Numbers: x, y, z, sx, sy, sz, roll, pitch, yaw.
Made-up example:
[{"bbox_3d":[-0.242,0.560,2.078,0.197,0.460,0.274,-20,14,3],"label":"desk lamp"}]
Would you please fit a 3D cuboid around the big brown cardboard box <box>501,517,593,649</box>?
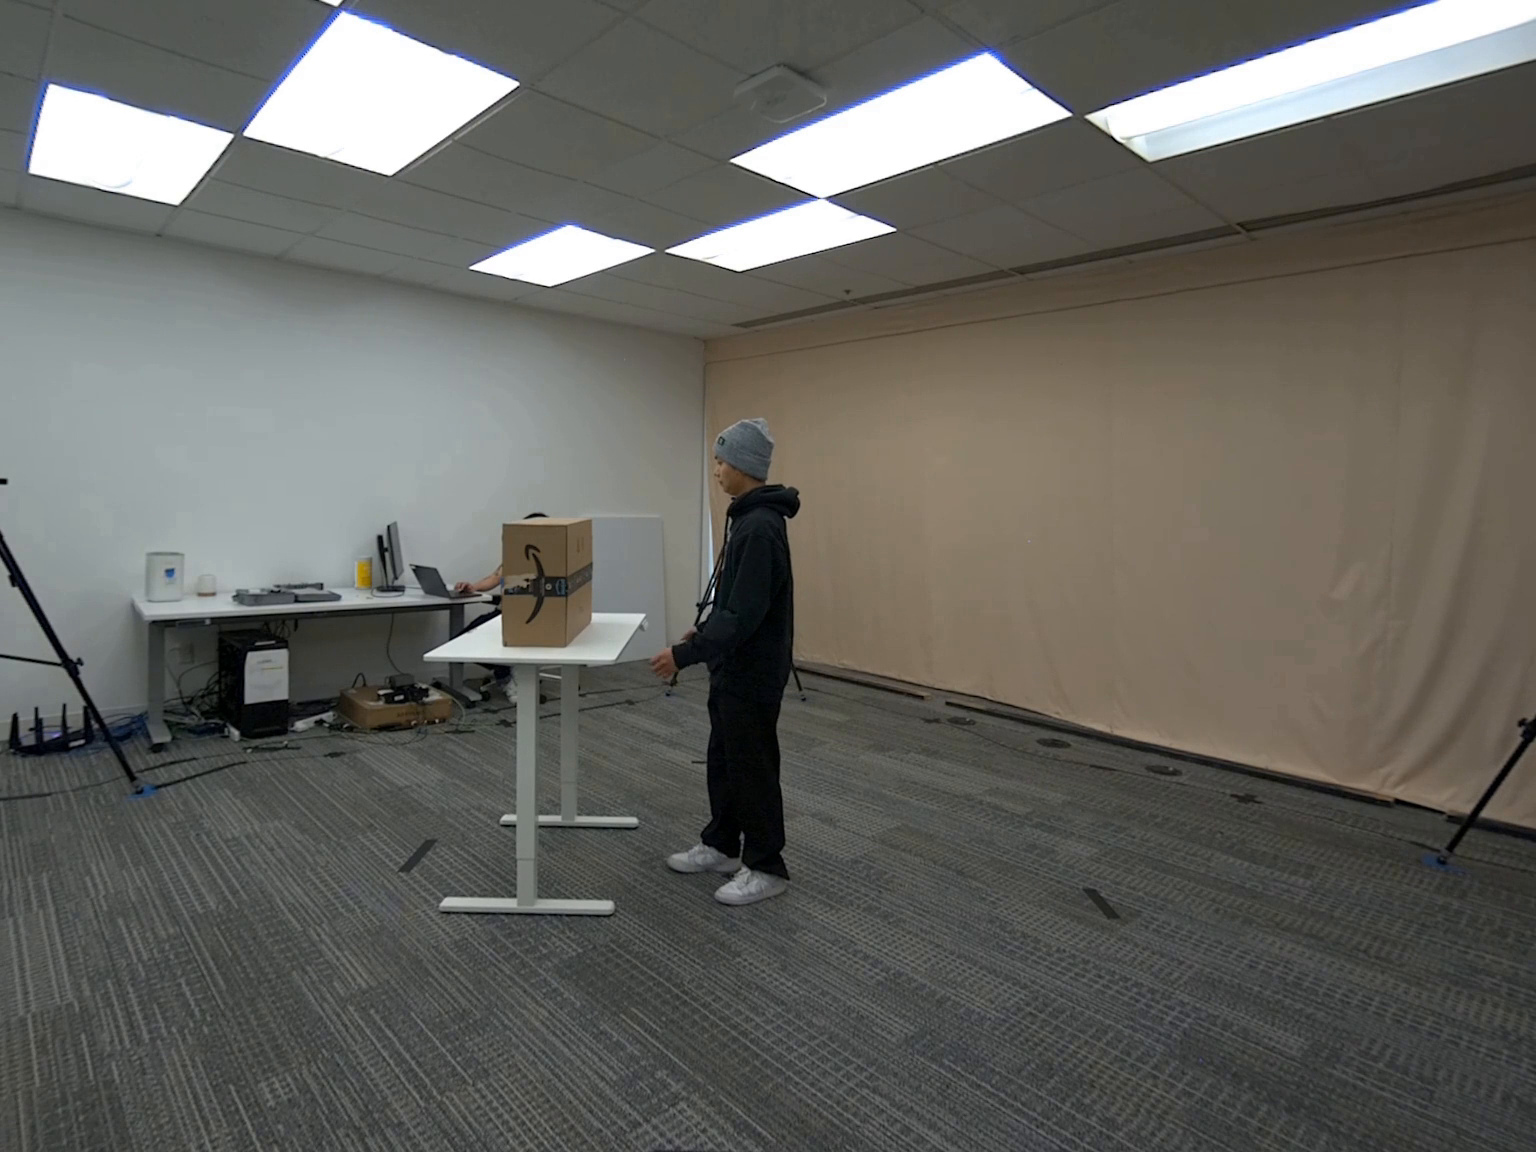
[{"bbox_3d":[-0.796,0.004,3.081,0.233,0.416,0.592,1,5,-3],"label":"big brown cardboard box"}]
